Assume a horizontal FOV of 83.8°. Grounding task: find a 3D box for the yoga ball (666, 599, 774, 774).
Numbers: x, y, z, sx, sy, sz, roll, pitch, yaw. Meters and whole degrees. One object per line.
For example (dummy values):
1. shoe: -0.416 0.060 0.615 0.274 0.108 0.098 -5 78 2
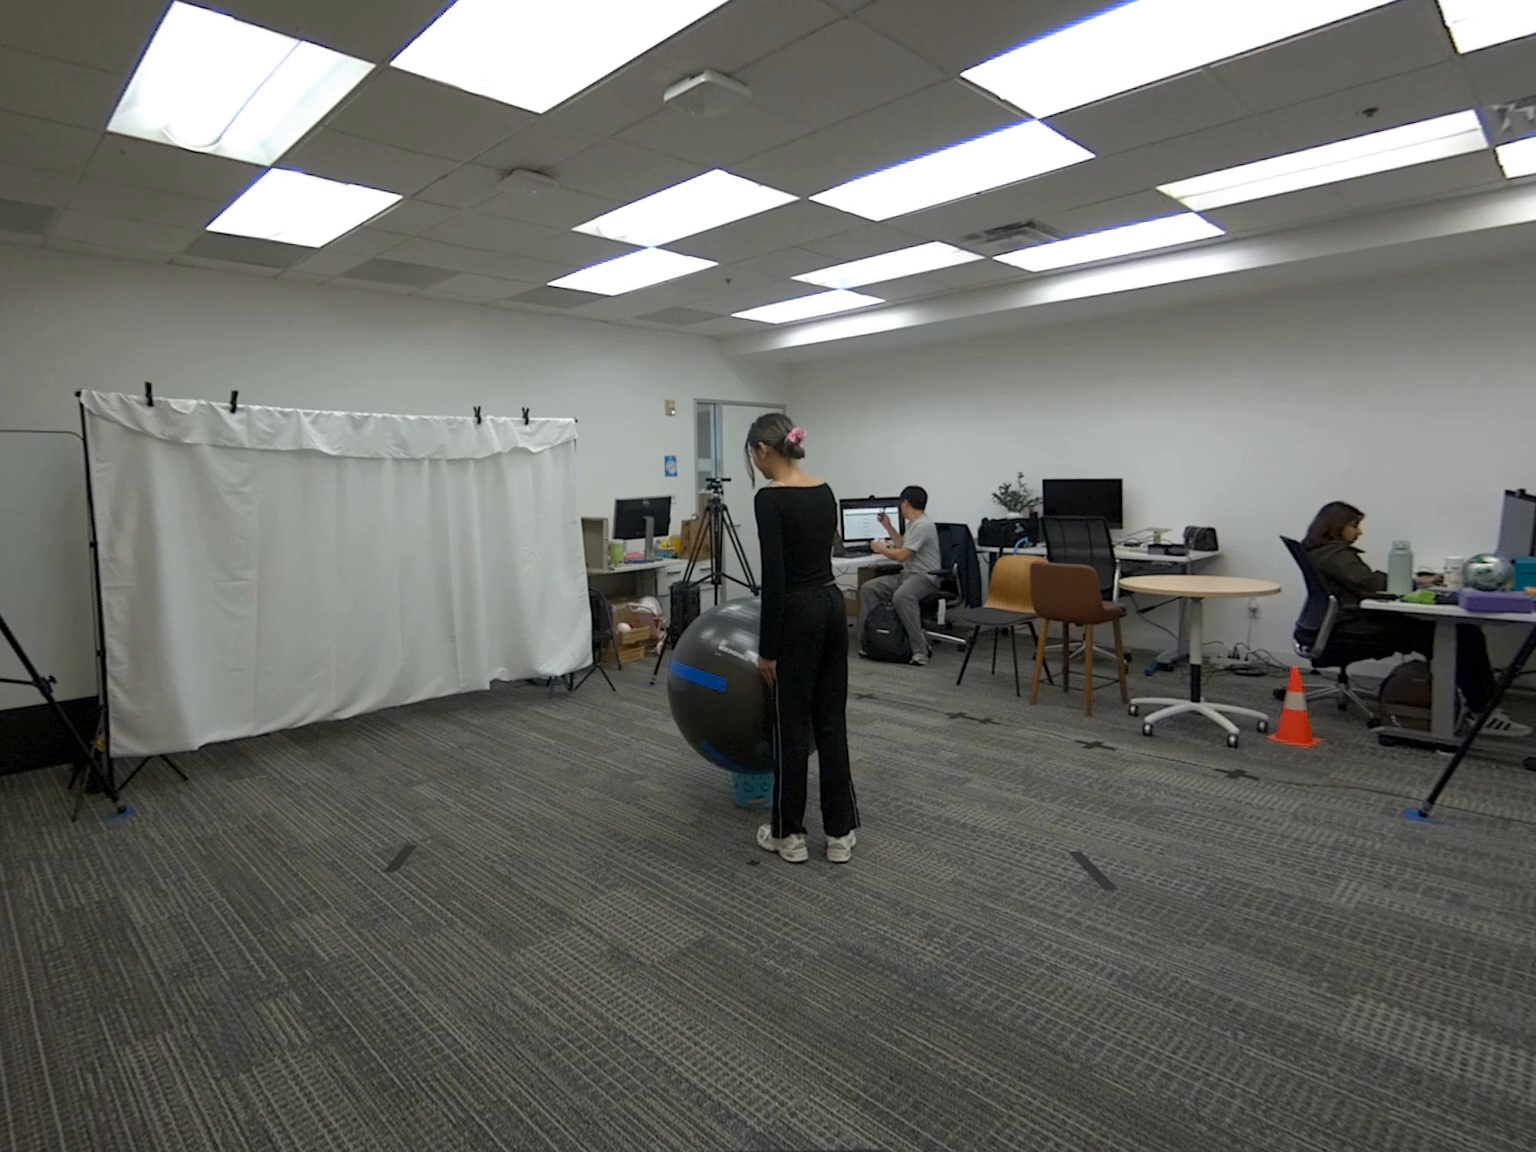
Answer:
1. yoga ball: -0.066 0.468 3.691 0.757 0.755 0.762 -1 5 -2
